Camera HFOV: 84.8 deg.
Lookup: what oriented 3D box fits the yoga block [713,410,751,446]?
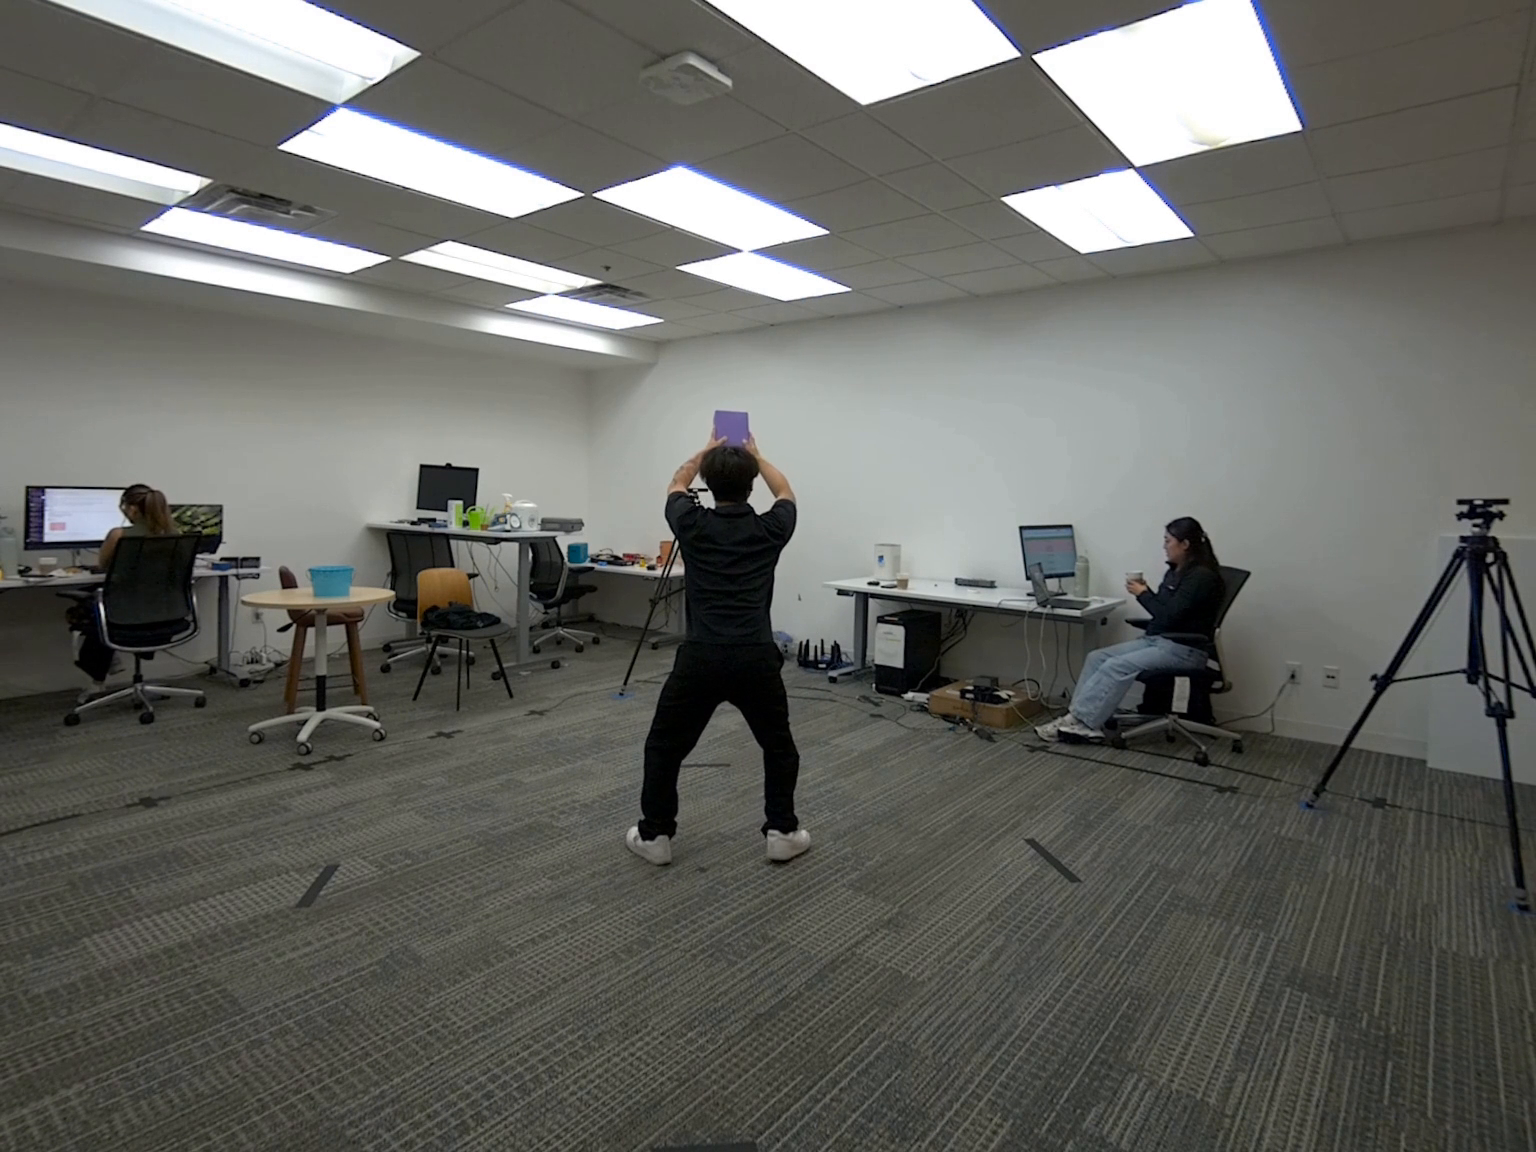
[{"bbox_3d":[-0.159,-0.604,3.706,0.148,0.235,0.075,-2,-28,-9],"label":"yoga block"}]
